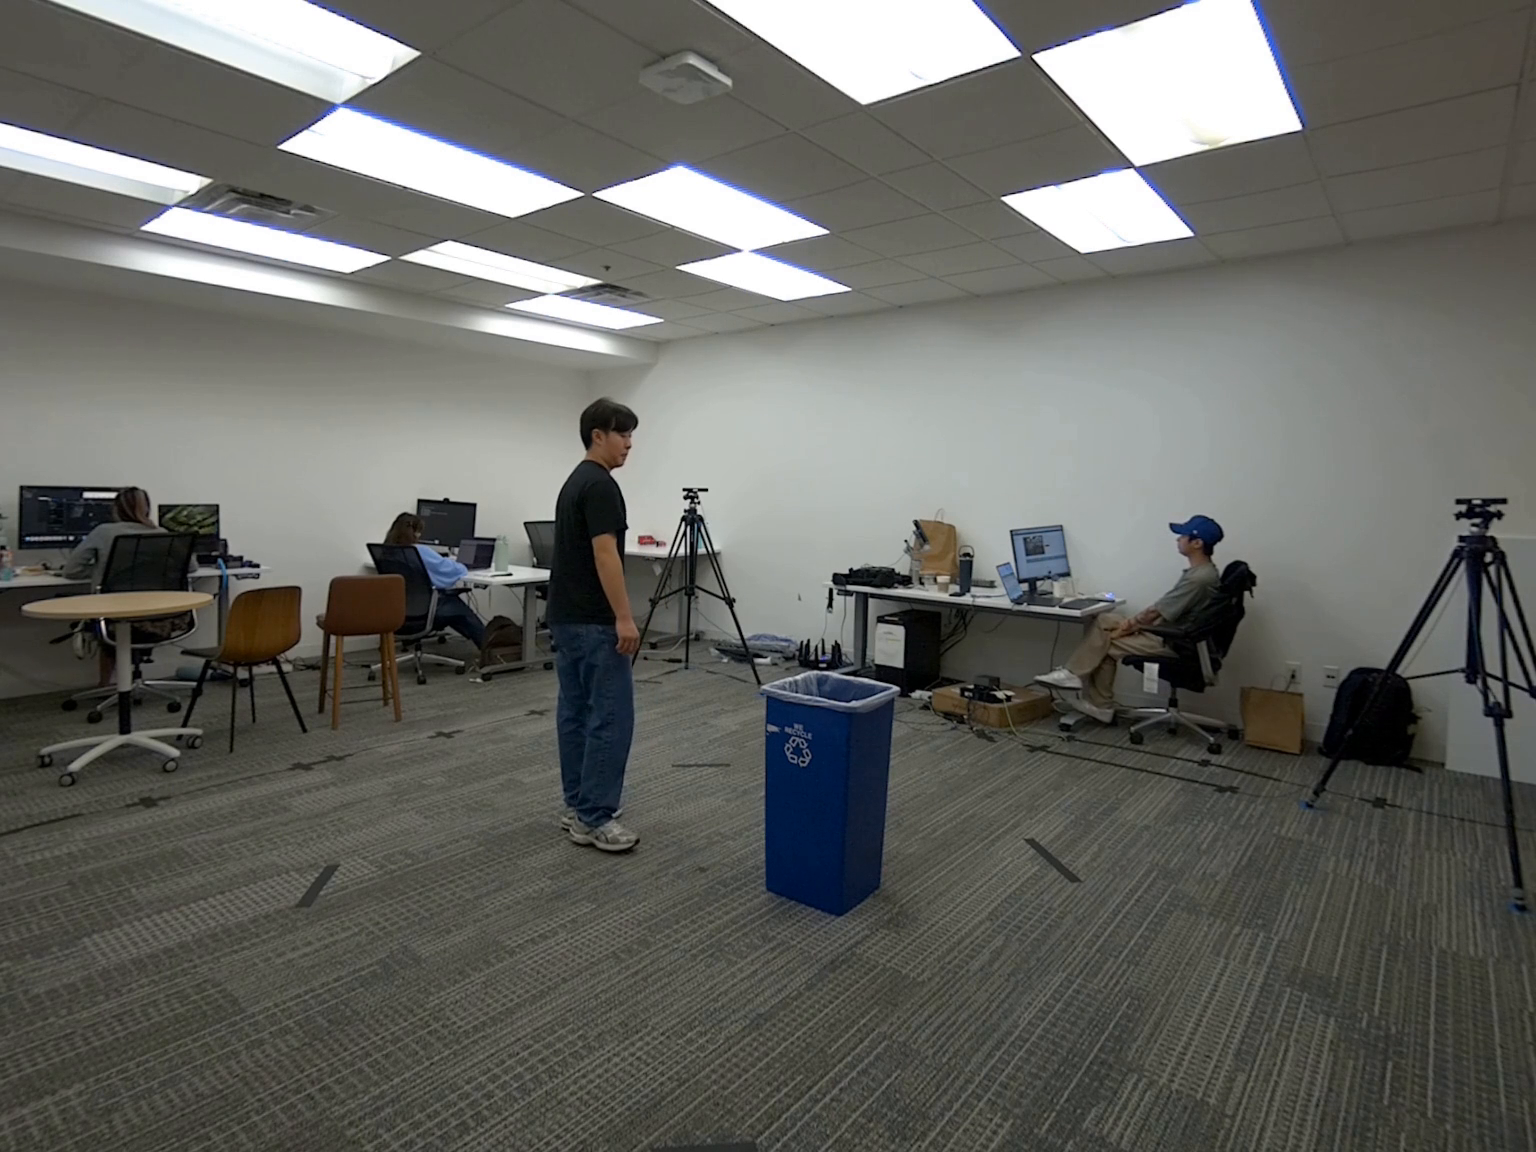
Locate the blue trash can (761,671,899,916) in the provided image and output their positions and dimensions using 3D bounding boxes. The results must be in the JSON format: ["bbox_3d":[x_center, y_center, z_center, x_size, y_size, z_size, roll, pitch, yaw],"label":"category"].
[{"bbox_3d":[0.206,0.733,2.968,0.386,0.711,0.367,3,4,35],"label":"blue trash can"}]
